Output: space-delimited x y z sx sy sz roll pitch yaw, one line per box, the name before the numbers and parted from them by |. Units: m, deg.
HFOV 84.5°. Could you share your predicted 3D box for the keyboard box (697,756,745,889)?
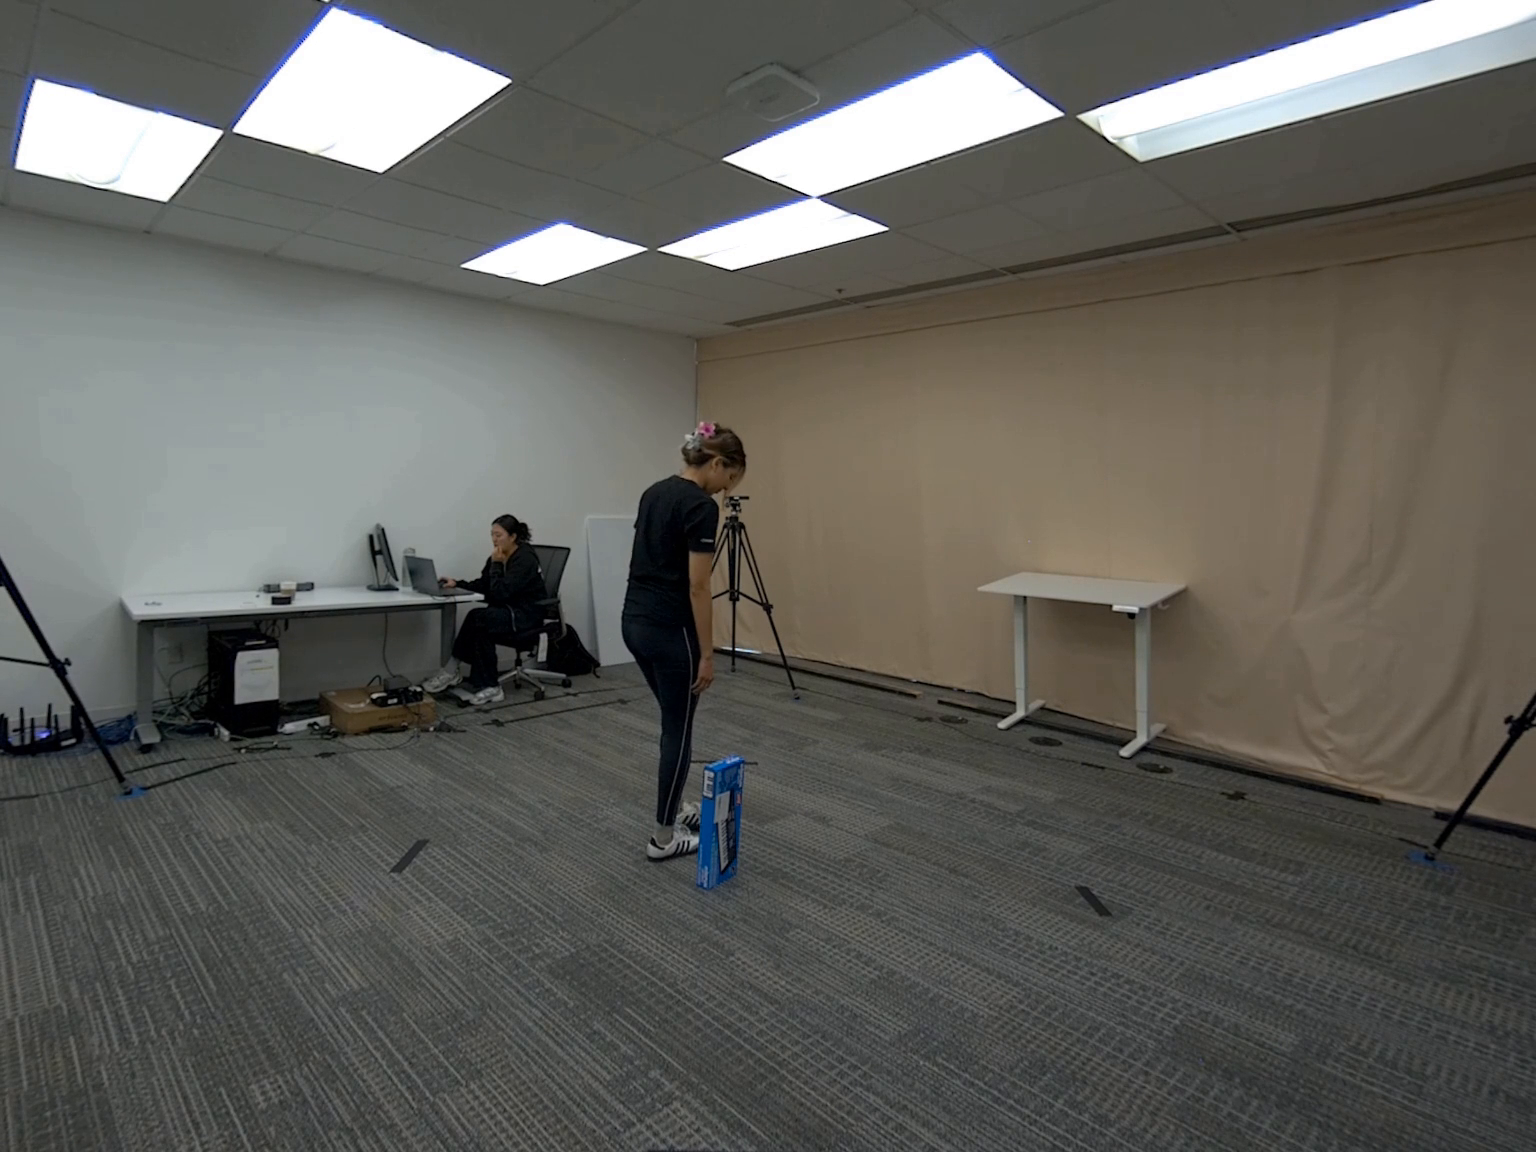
keyboard box | -0.178 0.890 3.043 0.060 0.435 0.172 8 6 34
